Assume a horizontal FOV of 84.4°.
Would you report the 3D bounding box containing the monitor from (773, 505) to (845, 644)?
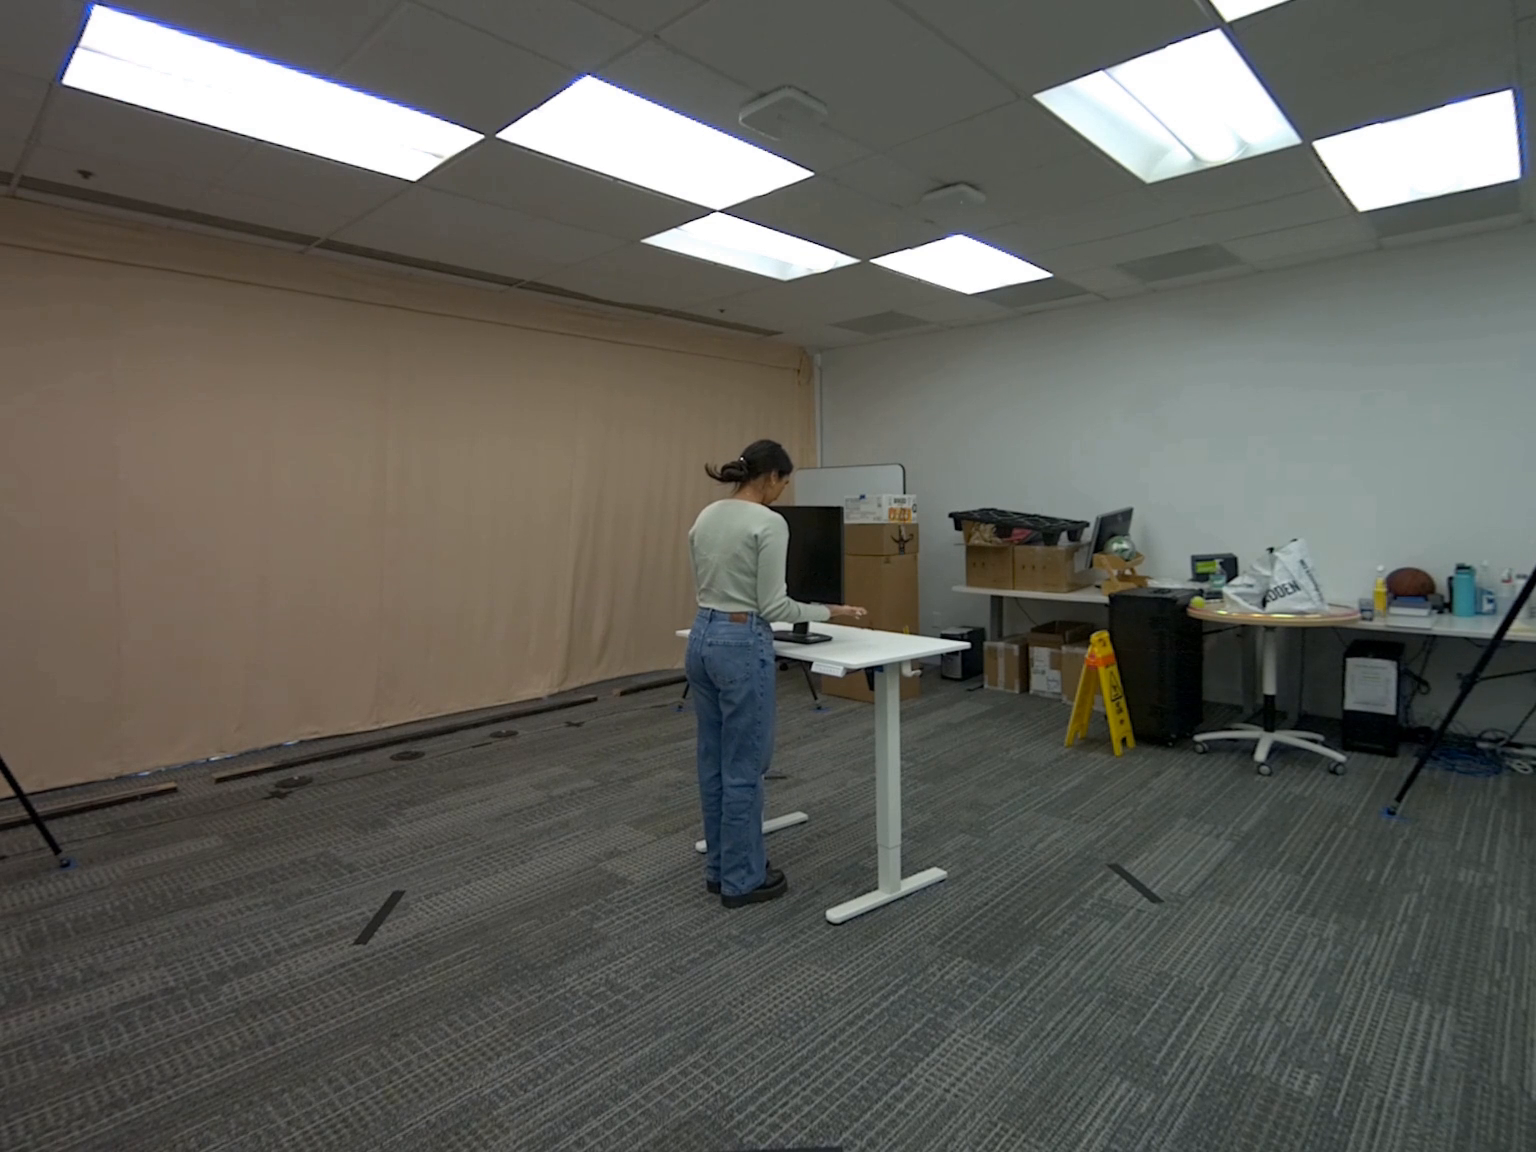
[{"bbox_3d":[0.097,-0.005,3.175,0.182,0.519,0.557,-12,11,-41],"label":"monitor"}]
